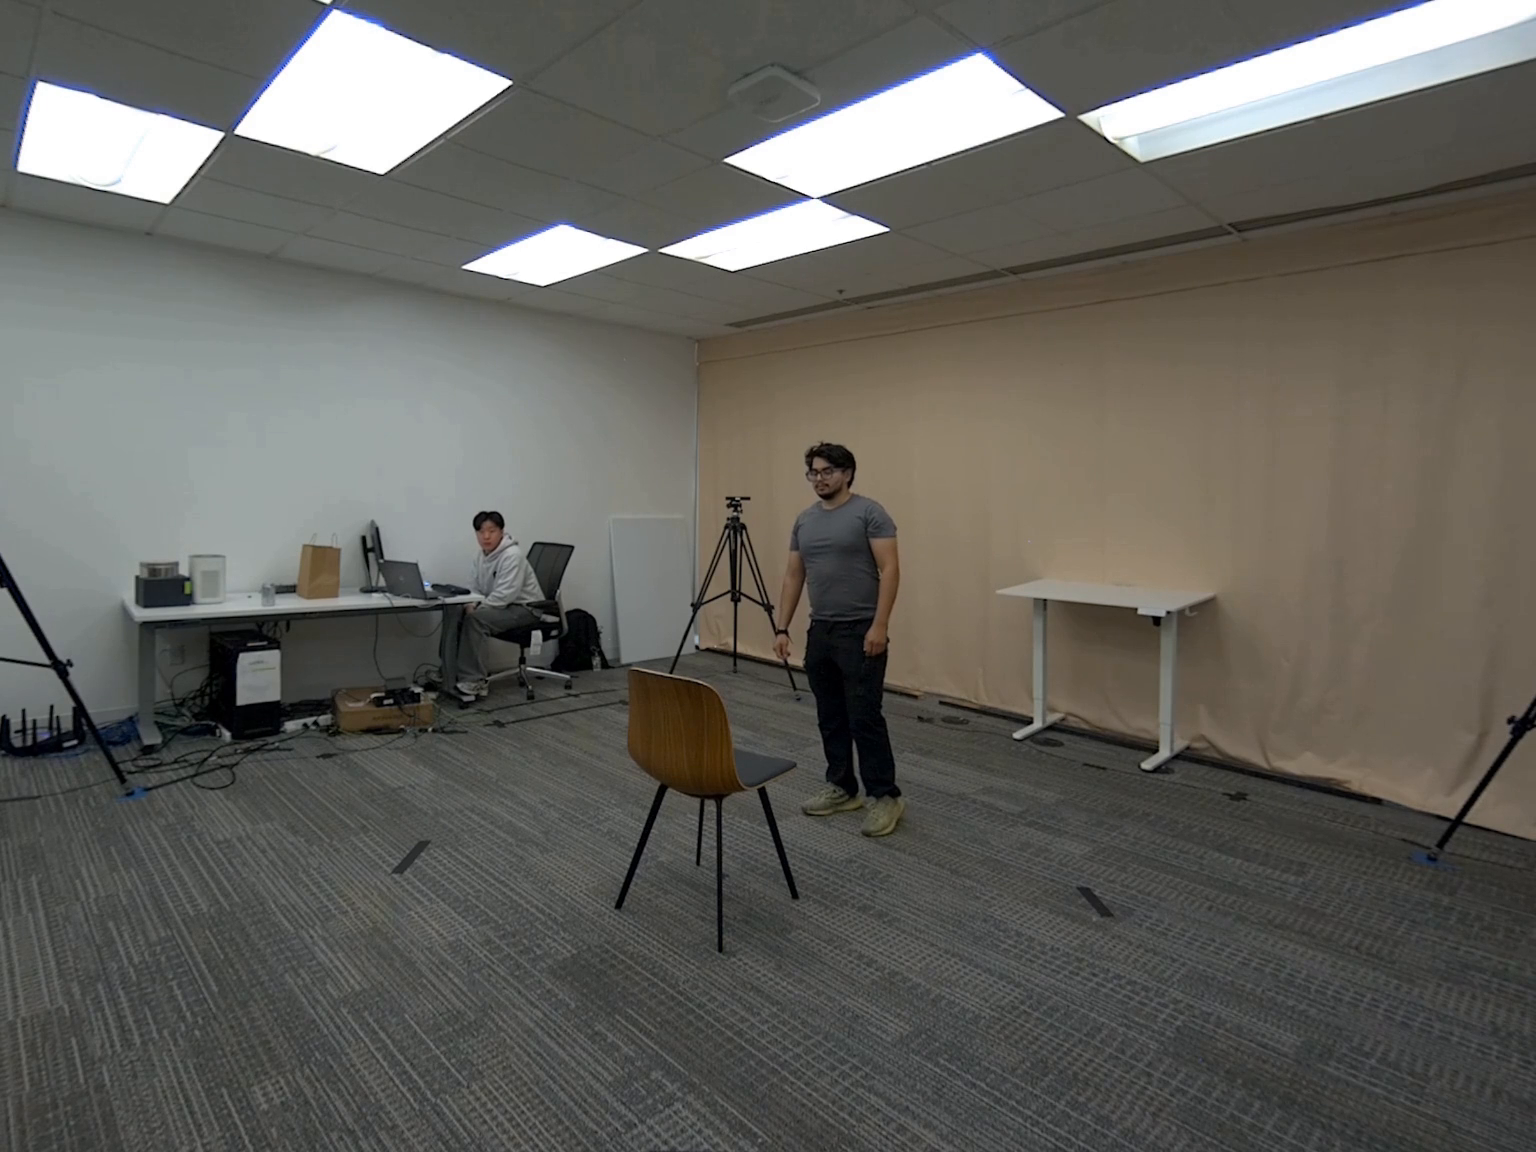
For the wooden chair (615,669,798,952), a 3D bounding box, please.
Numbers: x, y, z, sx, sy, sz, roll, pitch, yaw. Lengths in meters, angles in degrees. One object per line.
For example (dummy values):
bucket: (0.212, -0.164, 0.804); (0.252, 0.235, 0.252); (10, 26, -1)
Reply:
wooden chair: (-0.196, 0.698, 2.863); (0.489, 0.873, 0.513); (3, 8, 35)
